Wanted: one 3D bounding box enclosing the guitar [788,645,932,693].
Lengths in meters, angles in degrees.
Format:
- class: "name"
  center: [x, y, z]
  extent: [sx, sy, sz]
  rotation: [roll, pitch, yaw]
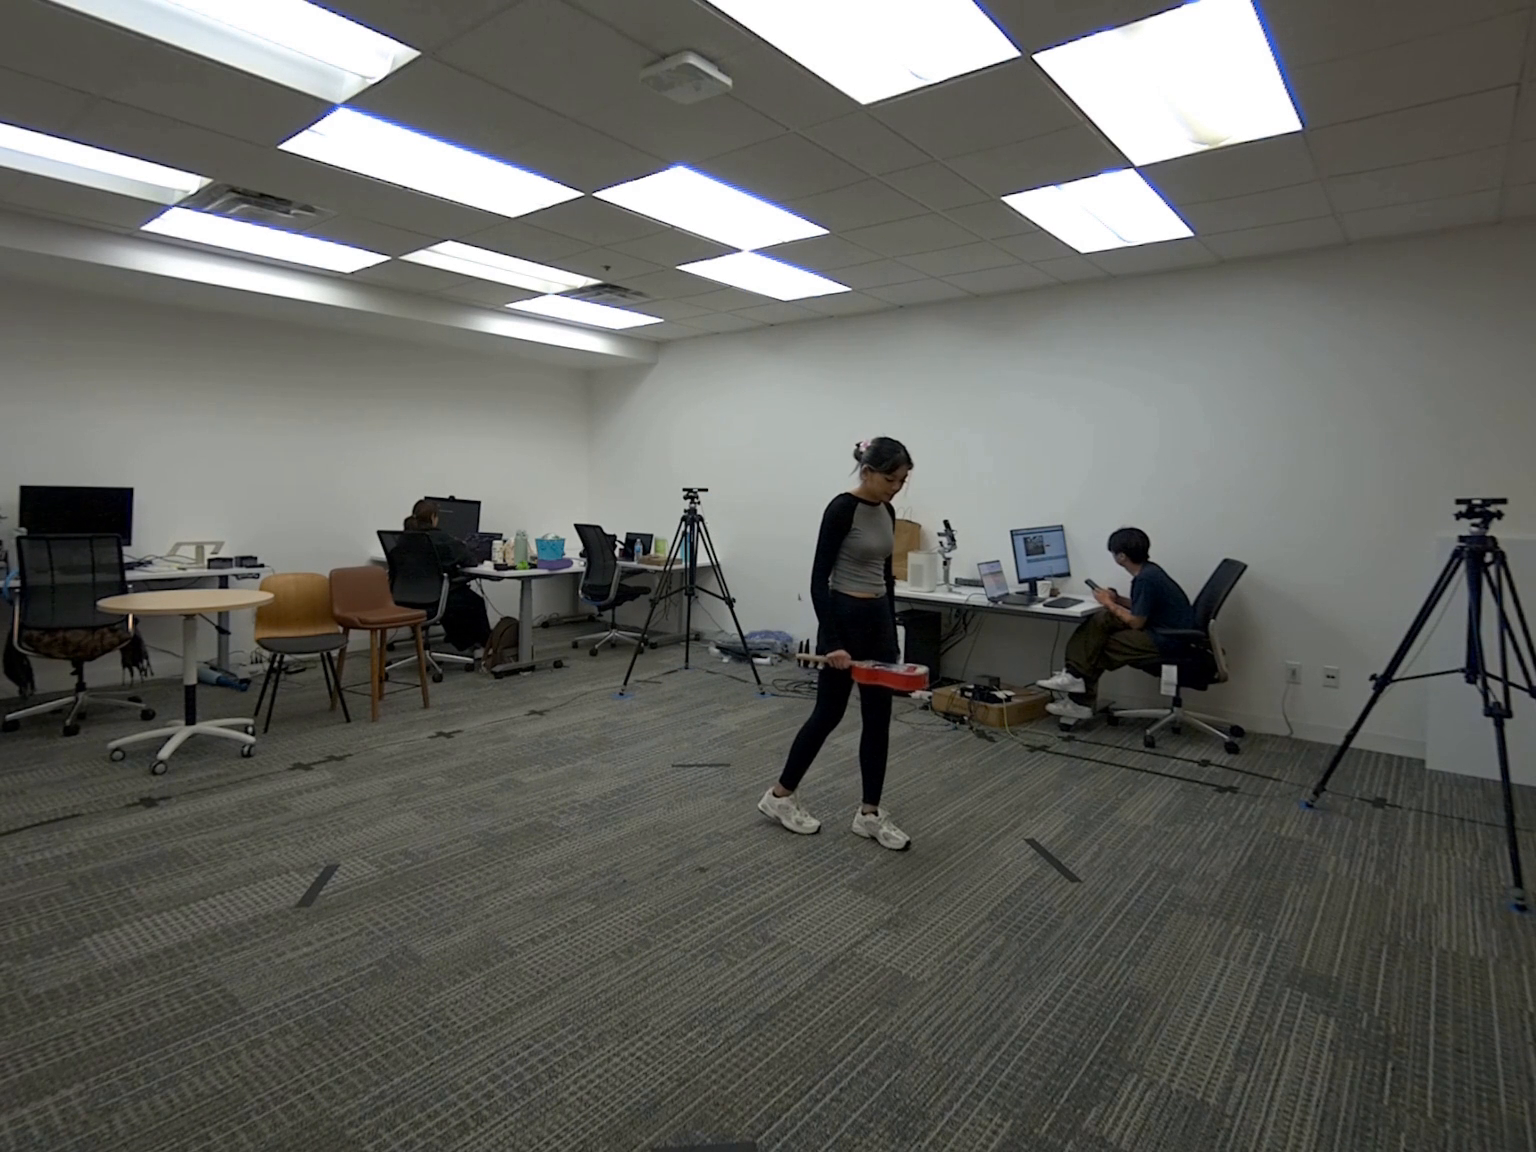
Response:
- class: "guitar"
  center: [0.342, 0.344, 3.184]
  extent: [0.513, 0.070, 0.188]
  rotation: [6, 6, 32]
